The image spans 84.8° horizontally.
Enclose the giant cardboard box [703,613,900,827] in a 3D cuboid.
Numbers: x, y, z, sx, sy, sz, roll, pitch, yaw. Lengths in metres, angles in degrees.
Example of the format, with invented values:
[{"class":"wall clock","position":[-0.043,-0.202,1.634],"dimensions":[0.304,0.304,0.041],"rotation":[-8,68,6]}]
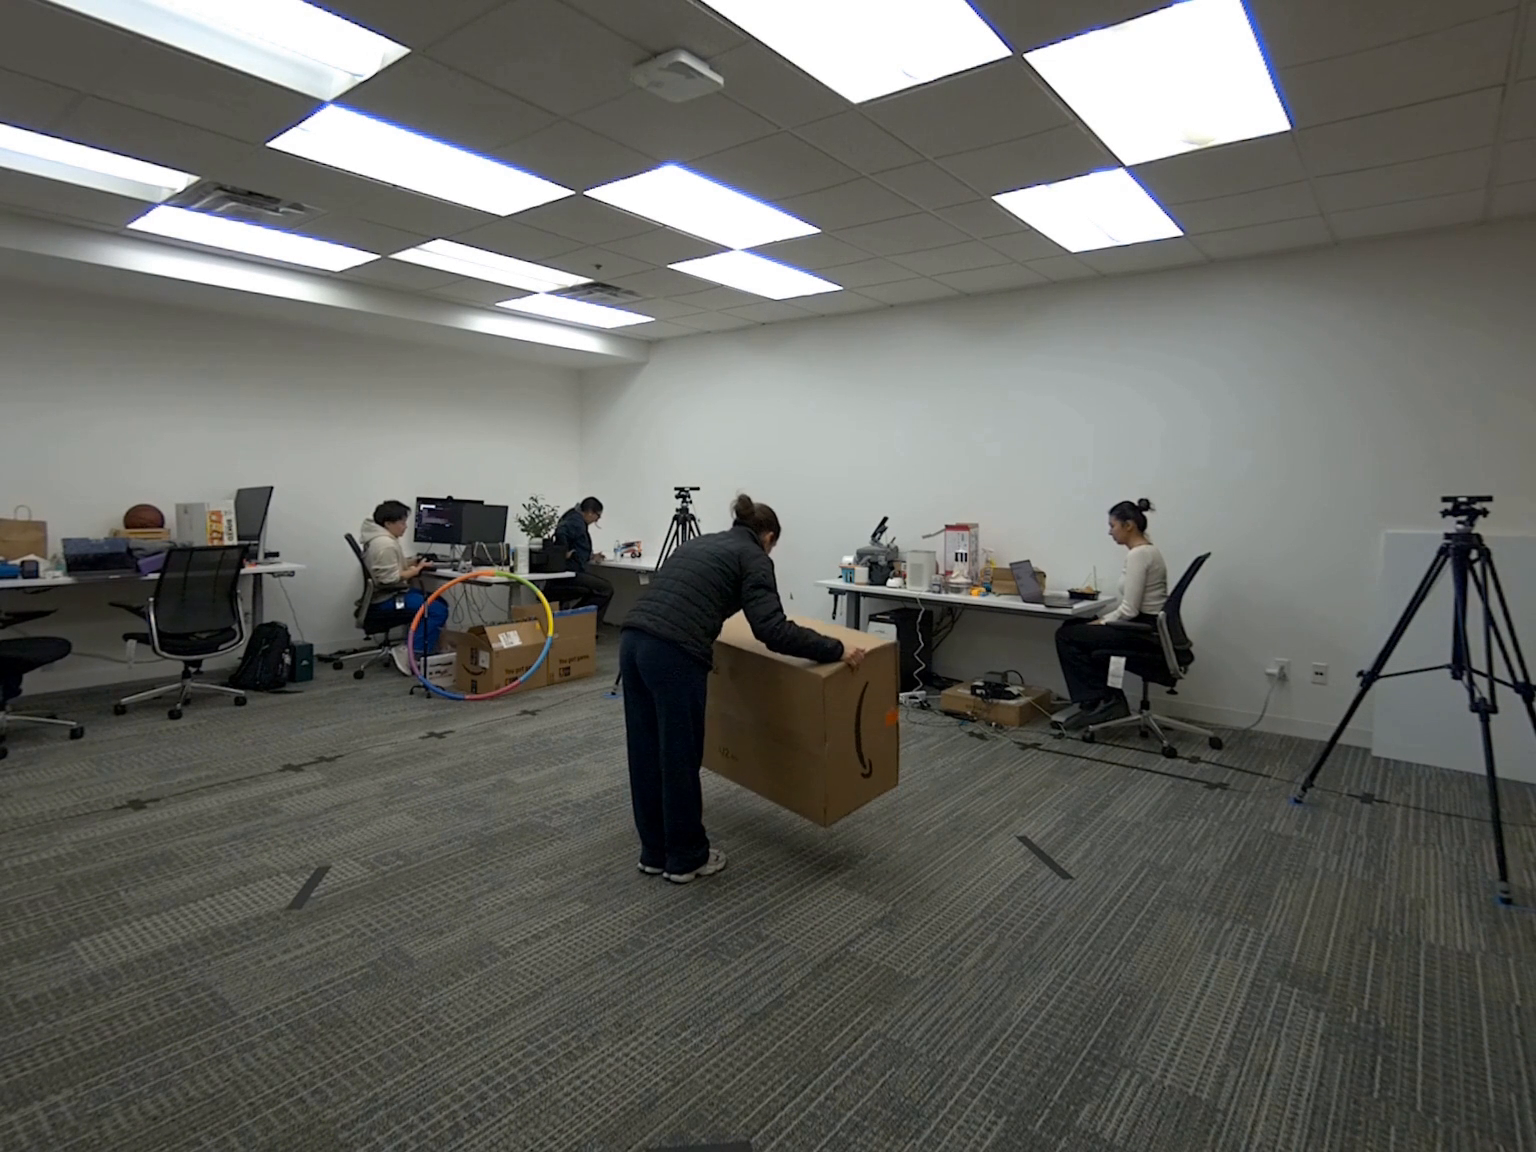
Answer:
[{"class":"giant cardboard box","position":[-0.002,0.468,3.418],"dimensions":[0.437,0.576,1.065],"rotation":[-16,20,-40]}]
